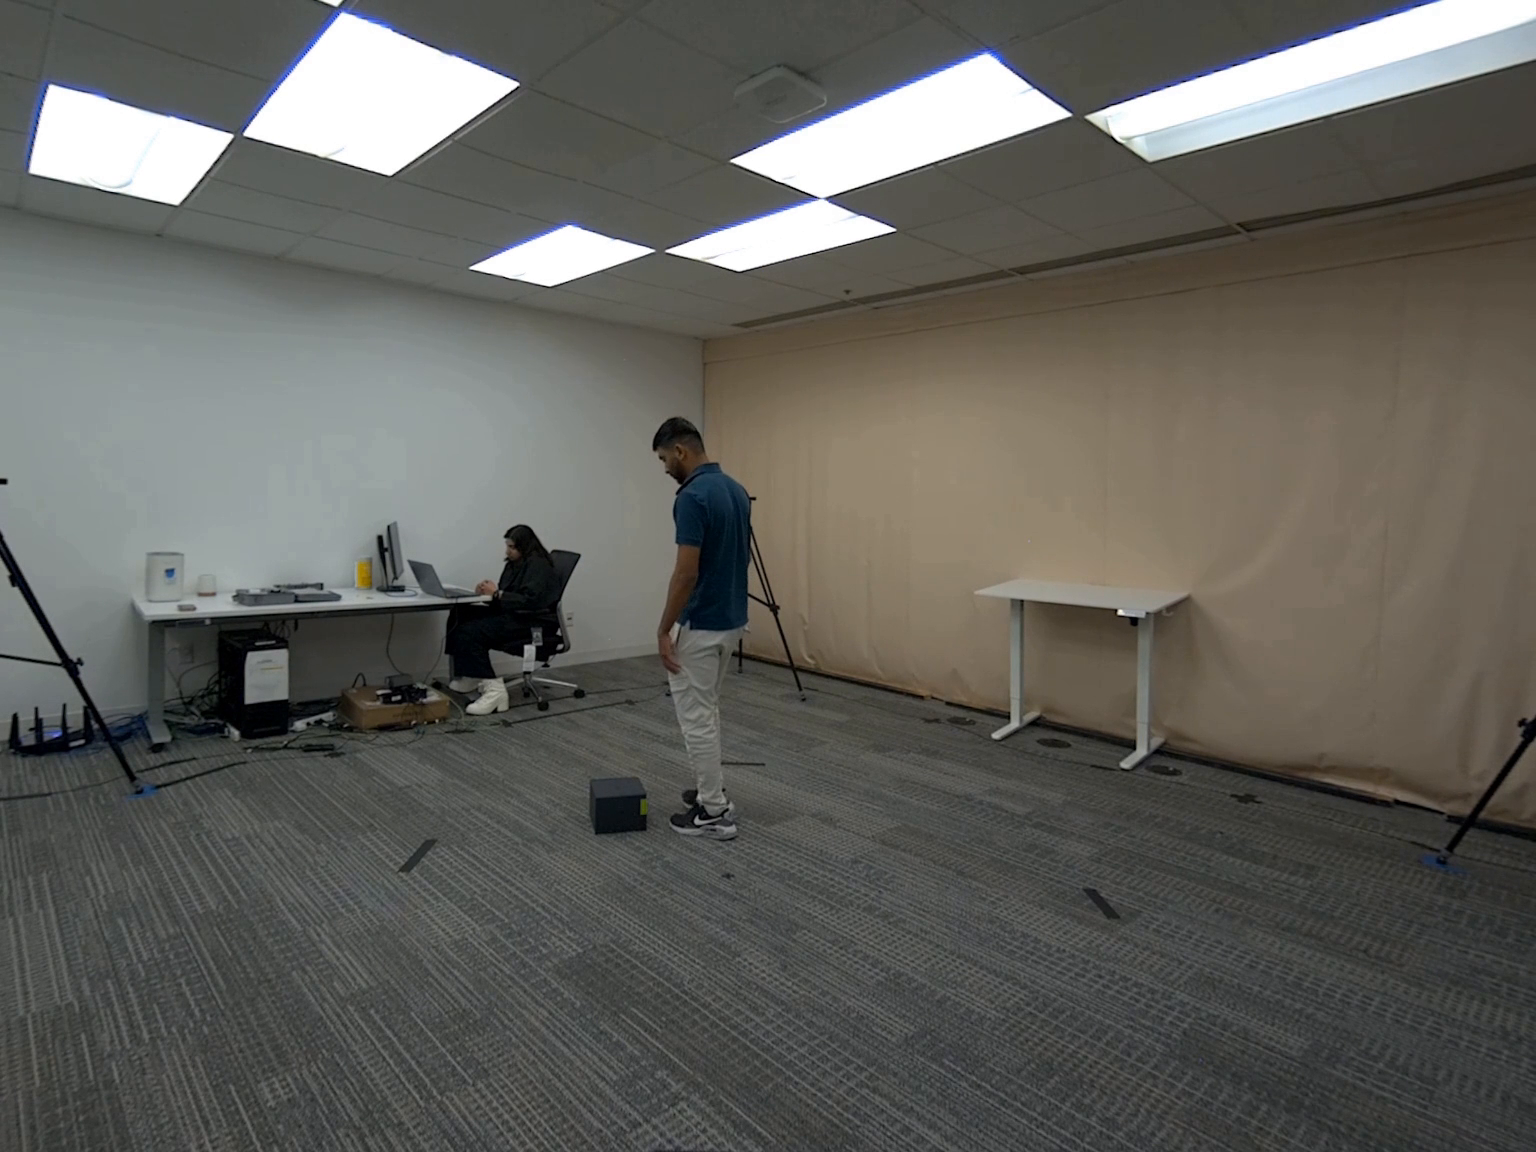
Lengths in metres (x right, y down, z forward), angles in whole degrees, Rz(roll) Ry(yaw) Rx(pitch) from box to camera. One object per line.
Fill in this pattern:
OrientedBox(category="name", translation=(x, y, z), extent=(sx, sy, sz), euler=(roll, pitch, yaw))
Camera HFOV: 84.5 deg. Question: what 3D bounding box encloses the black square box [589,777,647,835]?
OrientedBox(category="black square box", translation=(-0.645, 0.968, 3.581), extent=(0.214, 0.155, 0.232), euler=(0, 5, -18))
